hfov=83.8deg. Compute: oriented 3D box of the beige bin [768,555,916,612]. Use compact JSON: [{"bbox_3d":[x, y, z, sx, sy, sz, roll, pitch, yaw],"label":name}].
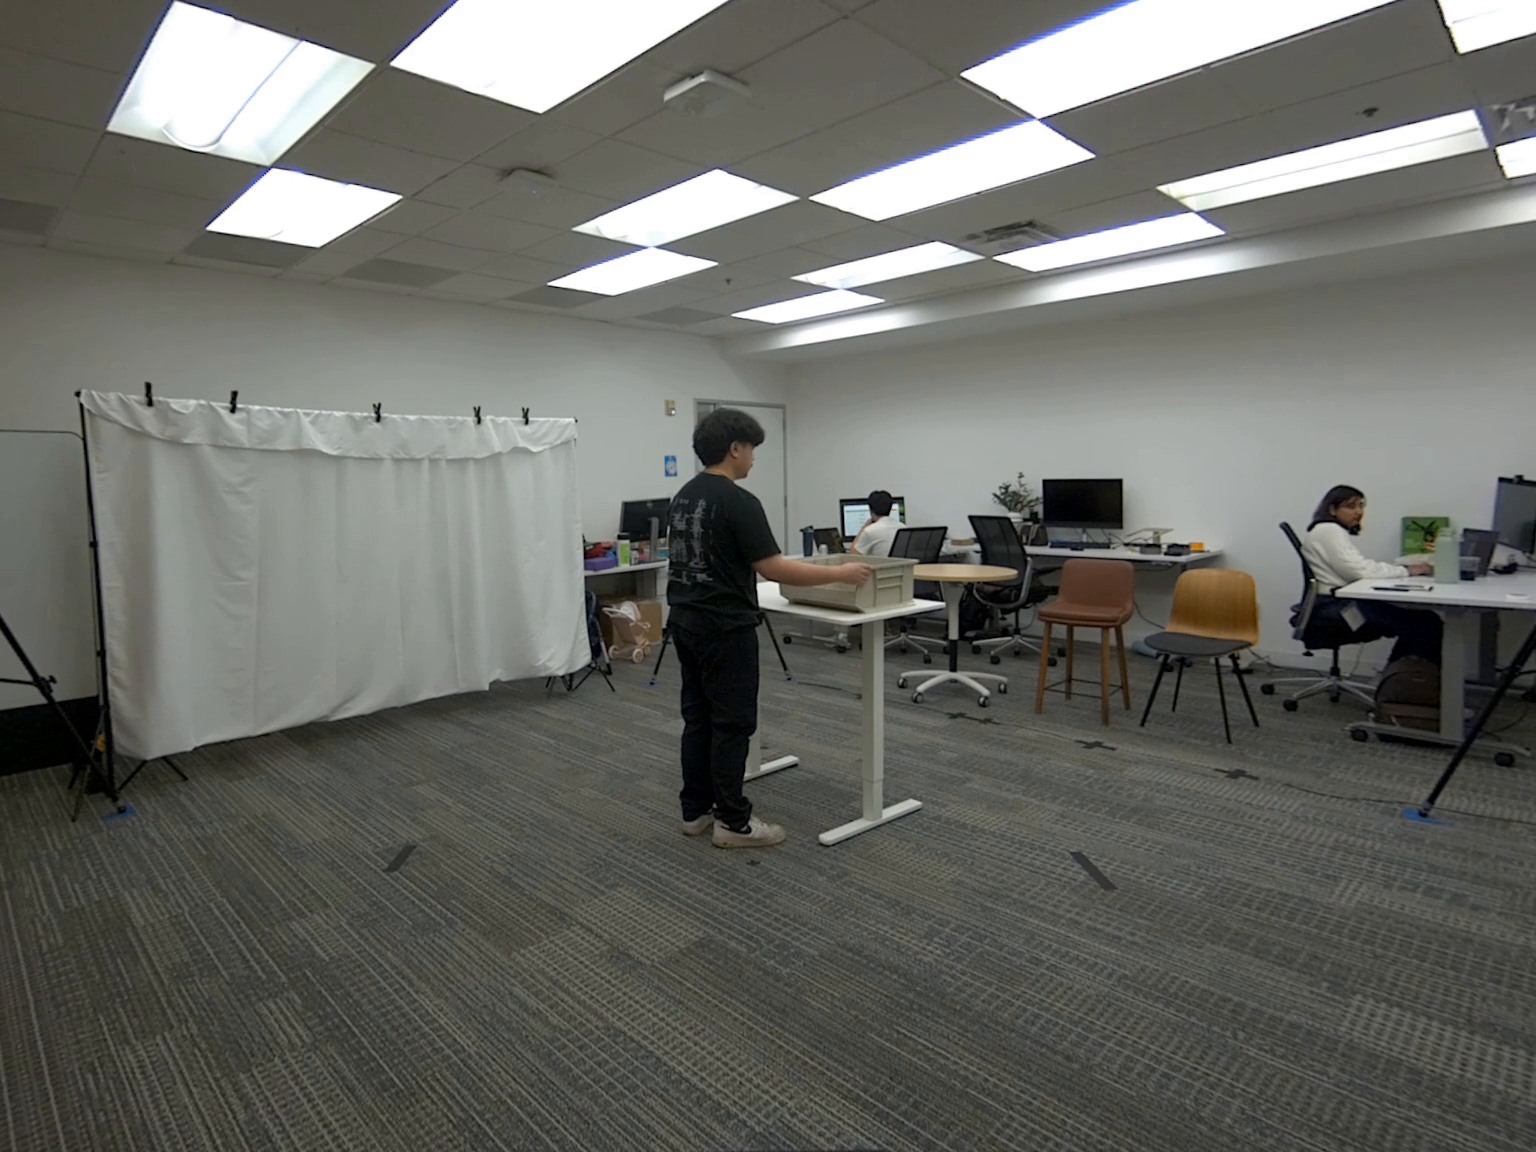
[{"bbox_3d":[0.317,0.032,3.451,0.367,0.188,0.435,-5,7,-42],"label":"beige bin"}]
